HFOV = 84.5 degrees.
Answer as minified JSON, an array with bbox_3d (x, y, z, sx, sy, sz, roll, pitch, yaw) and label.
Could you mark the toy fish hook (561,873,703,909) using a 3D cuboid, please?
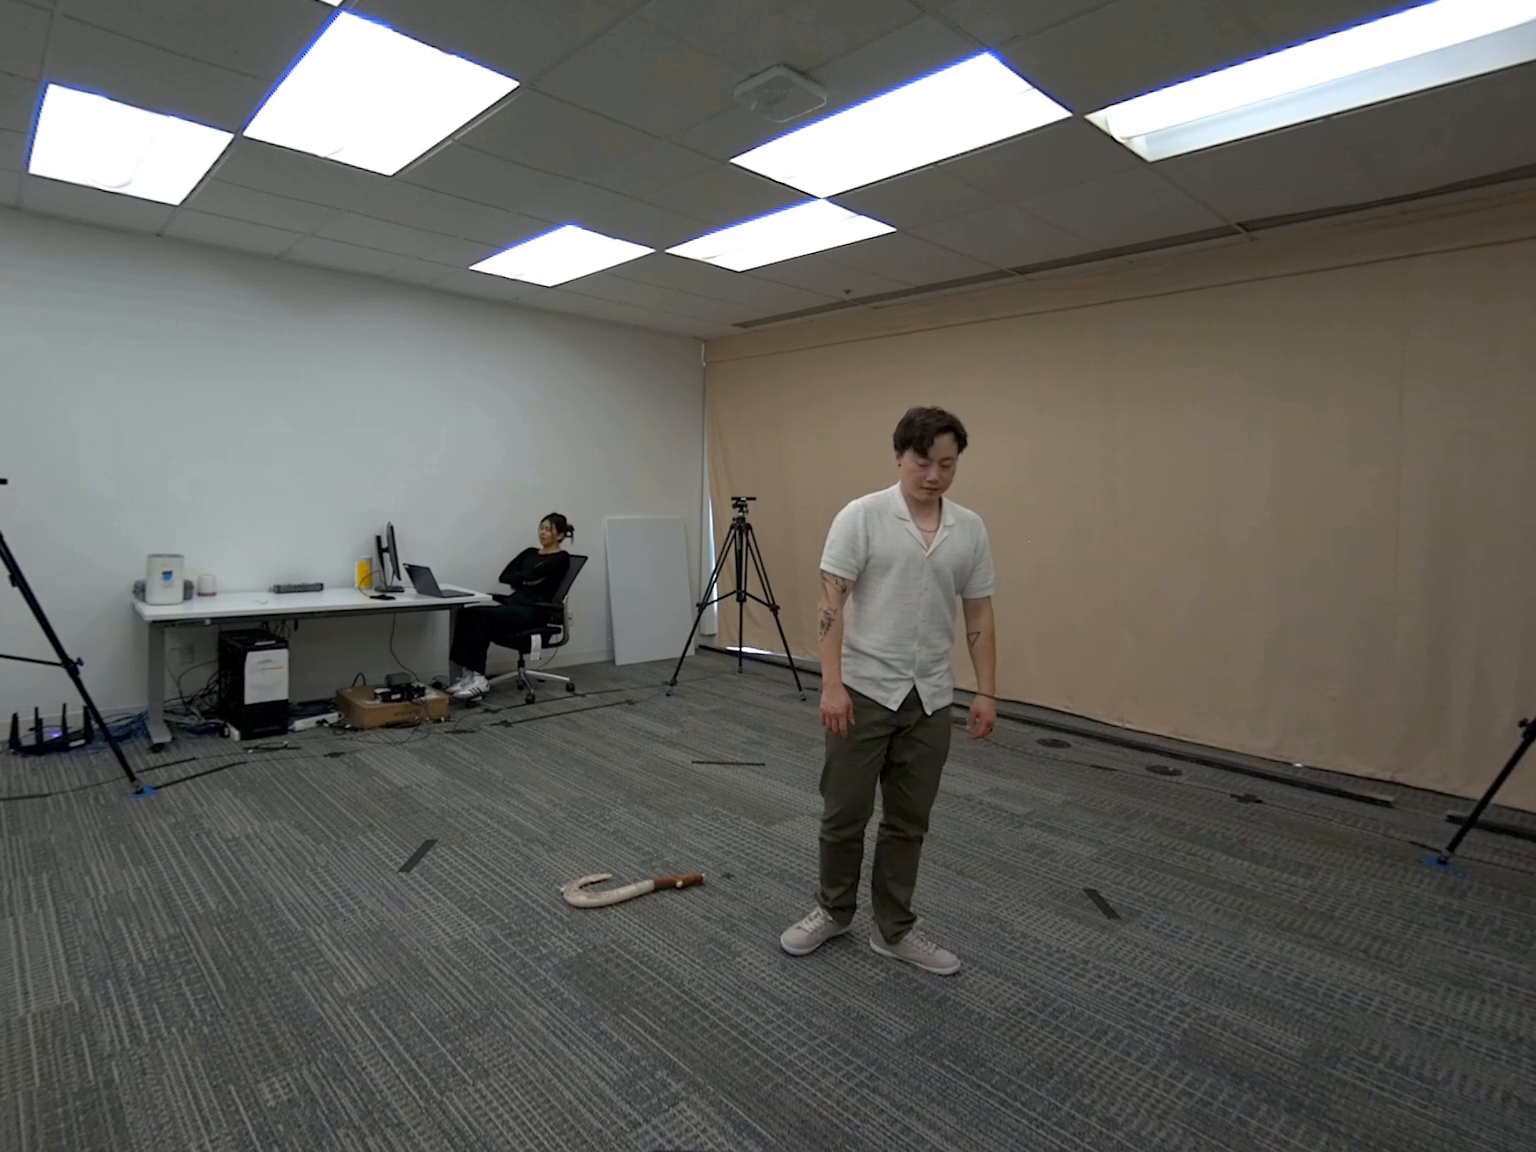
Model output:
[{"bbox_3d":[-0.480,1.088,2.987,0.498,0.048,0.229,0,6,-24],"label":"toy fish hook"}]
